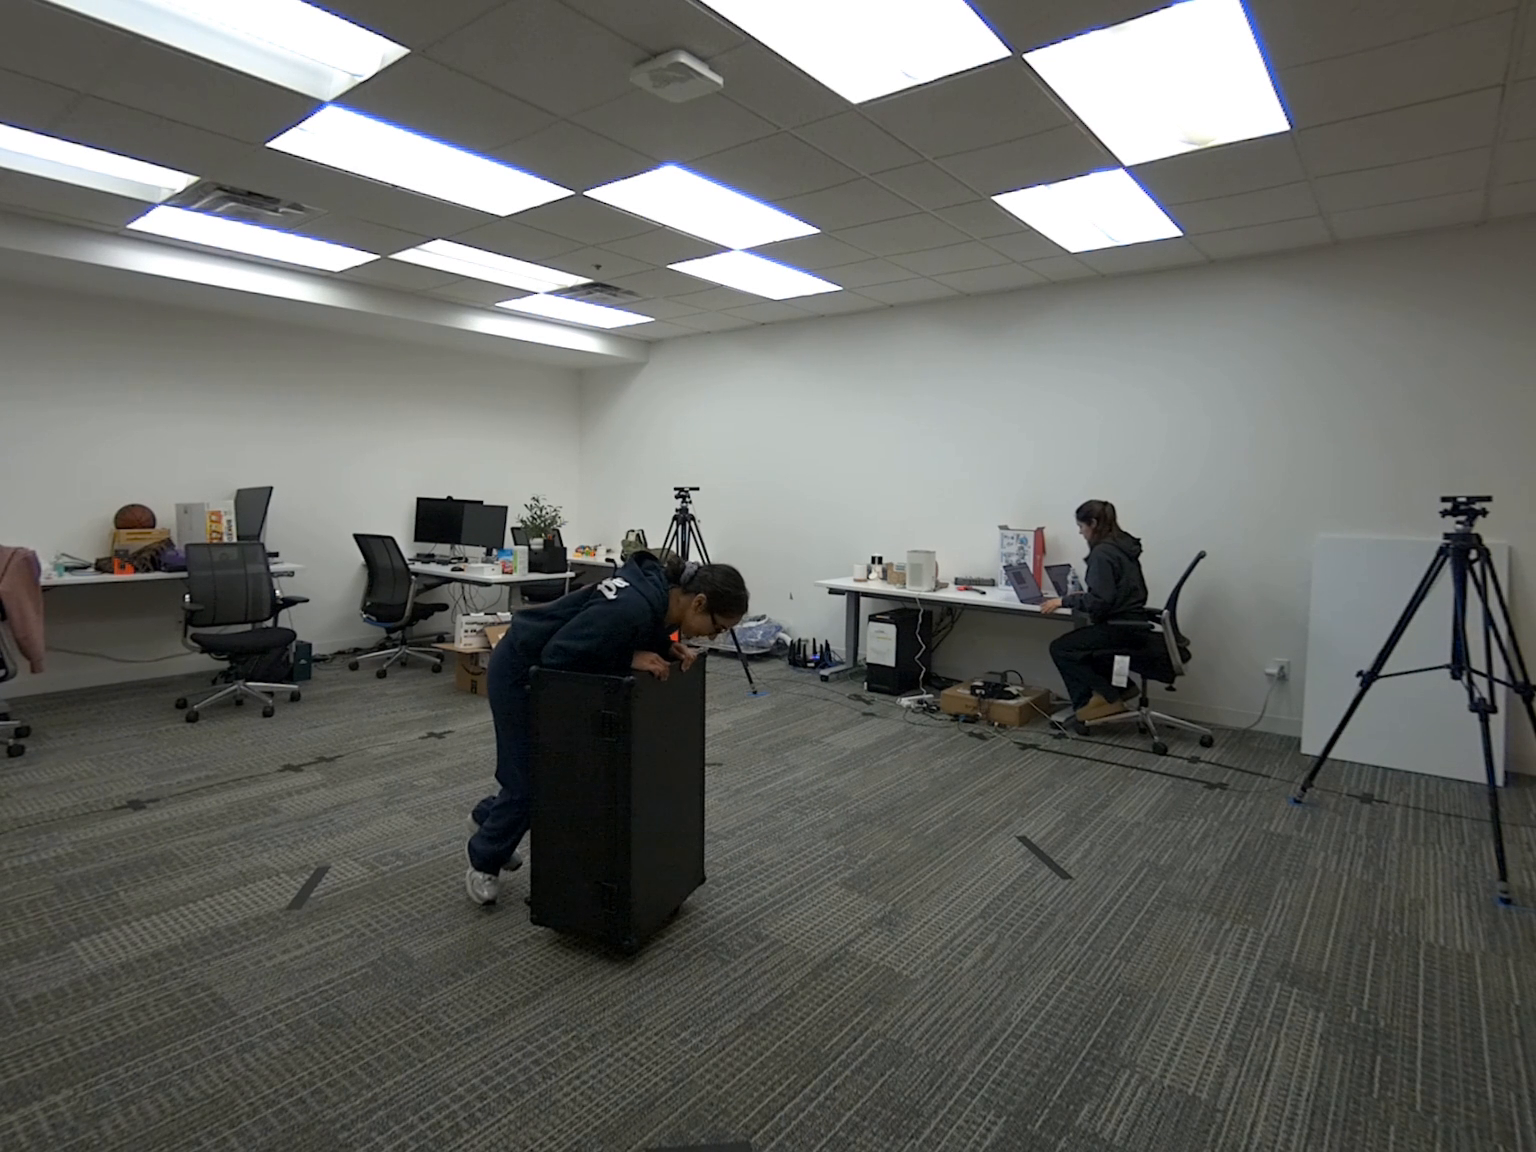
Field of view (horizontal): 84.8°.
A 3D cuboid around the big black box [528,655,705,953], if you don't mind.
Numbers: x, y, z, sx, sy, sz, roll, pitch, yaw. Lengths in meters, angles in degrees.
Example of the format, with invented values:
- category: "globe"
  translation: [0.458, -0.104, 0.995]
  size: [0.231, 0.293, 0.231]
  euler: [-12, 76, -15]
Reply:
- category: "big black box"
  translation: [-0.484, 0.681, 2.680]
  size: [0.406, 0.859, 0.510]
  euler: [1, 4, 24]
